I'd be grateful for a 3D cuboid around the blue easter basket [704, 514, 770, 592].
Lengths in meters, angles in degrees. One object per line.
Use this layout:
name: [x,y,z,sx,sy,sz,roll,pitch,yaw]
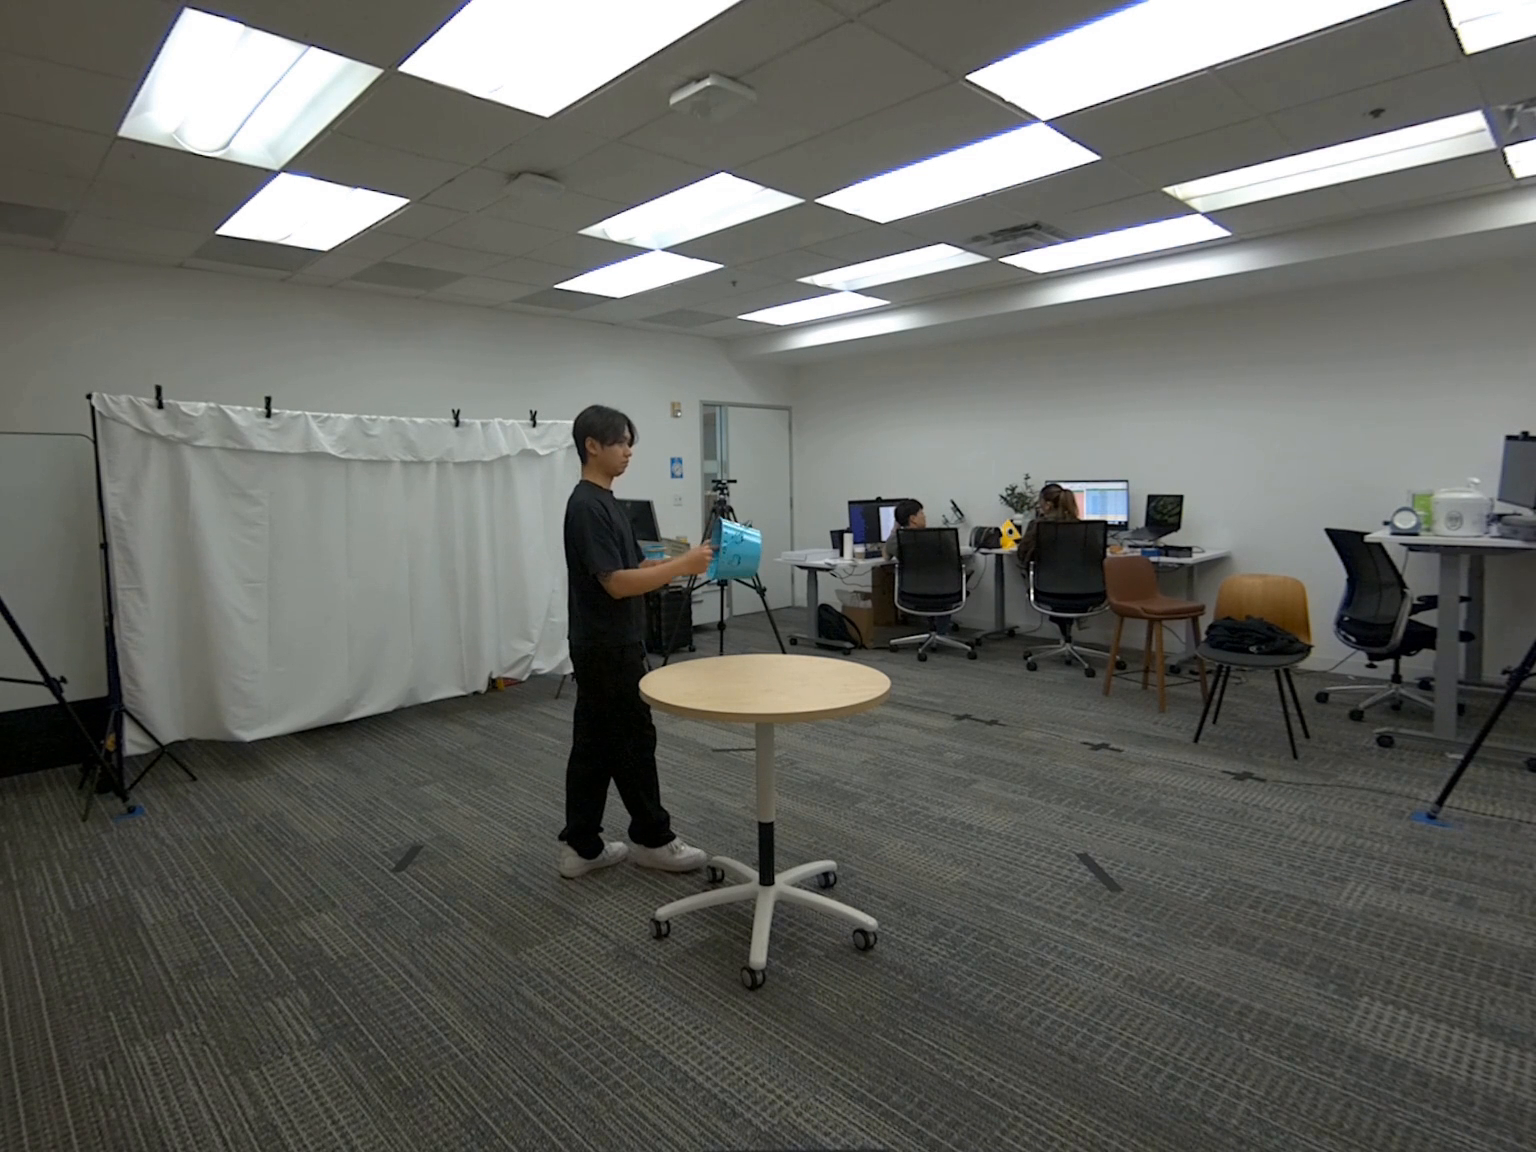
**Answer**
blue easter basket: [-0.119,-0.090,3.103,0.154,0.243,0.247,8,3,-13]
